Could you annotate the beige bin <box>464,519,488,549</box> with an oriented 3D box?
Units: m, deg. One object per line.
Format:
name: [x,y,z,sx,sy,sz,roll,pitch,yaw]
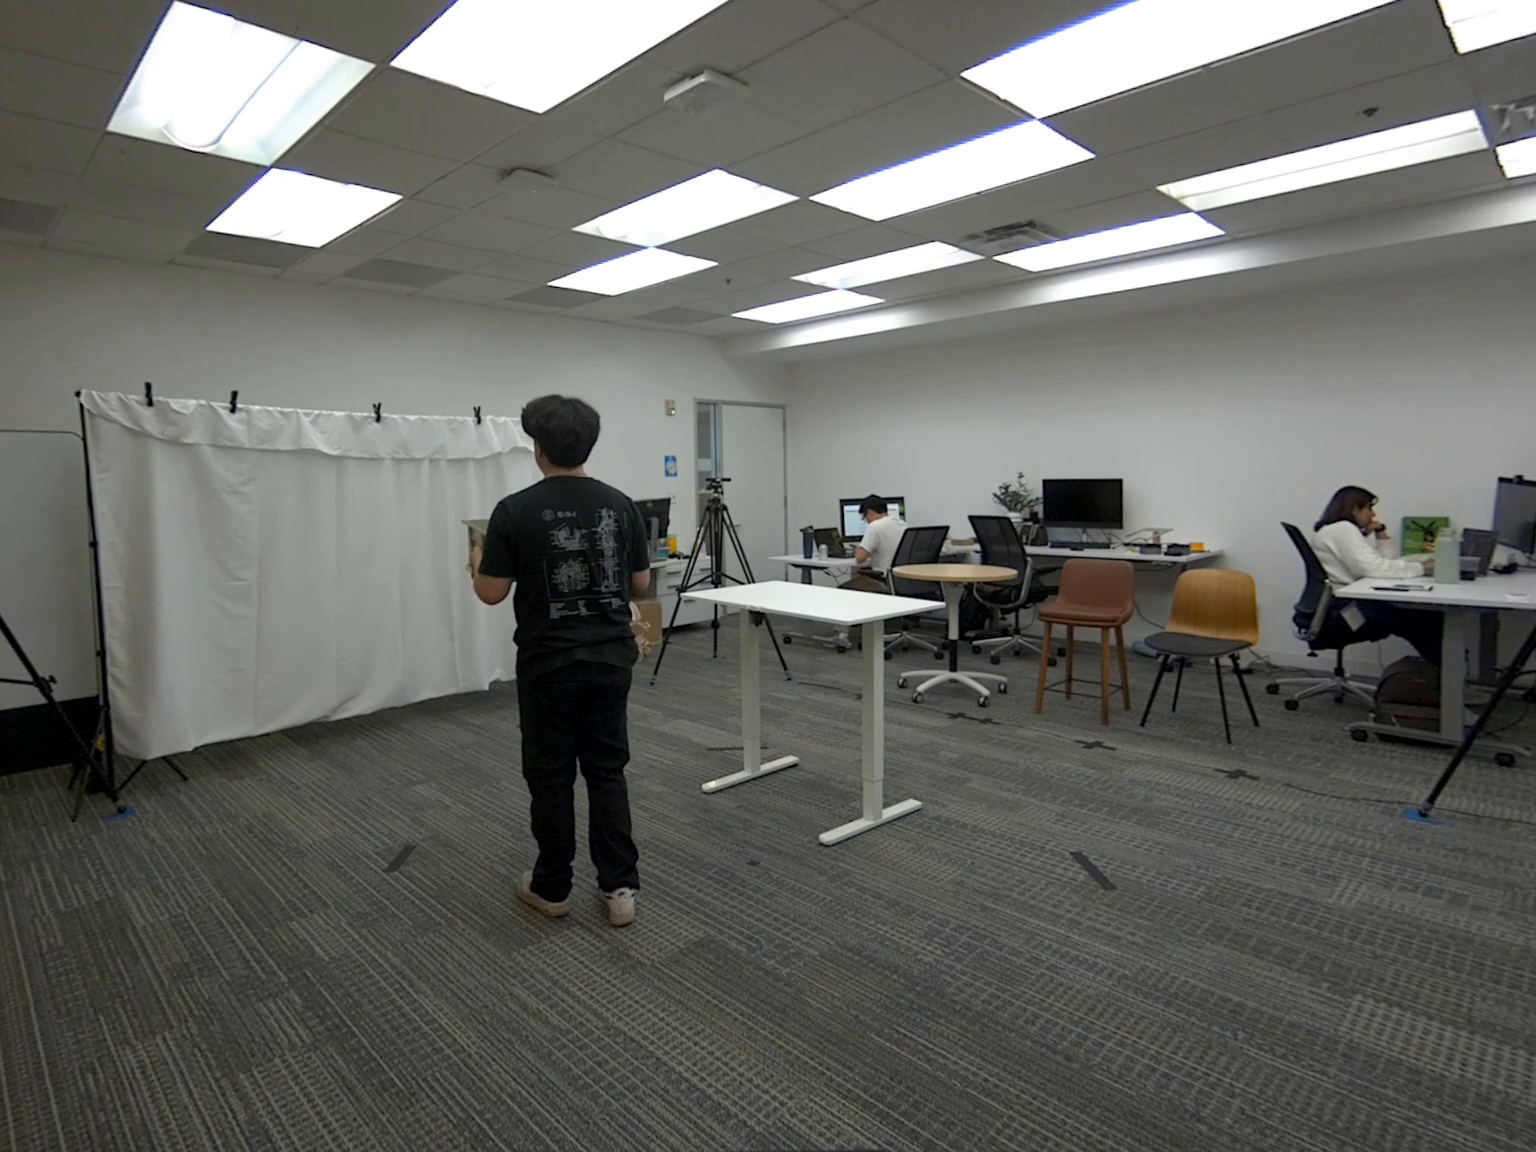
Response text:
beige bin: [-0.829,-0.093,3.044,0.412,0.187,0.389,-5,12,-31]
